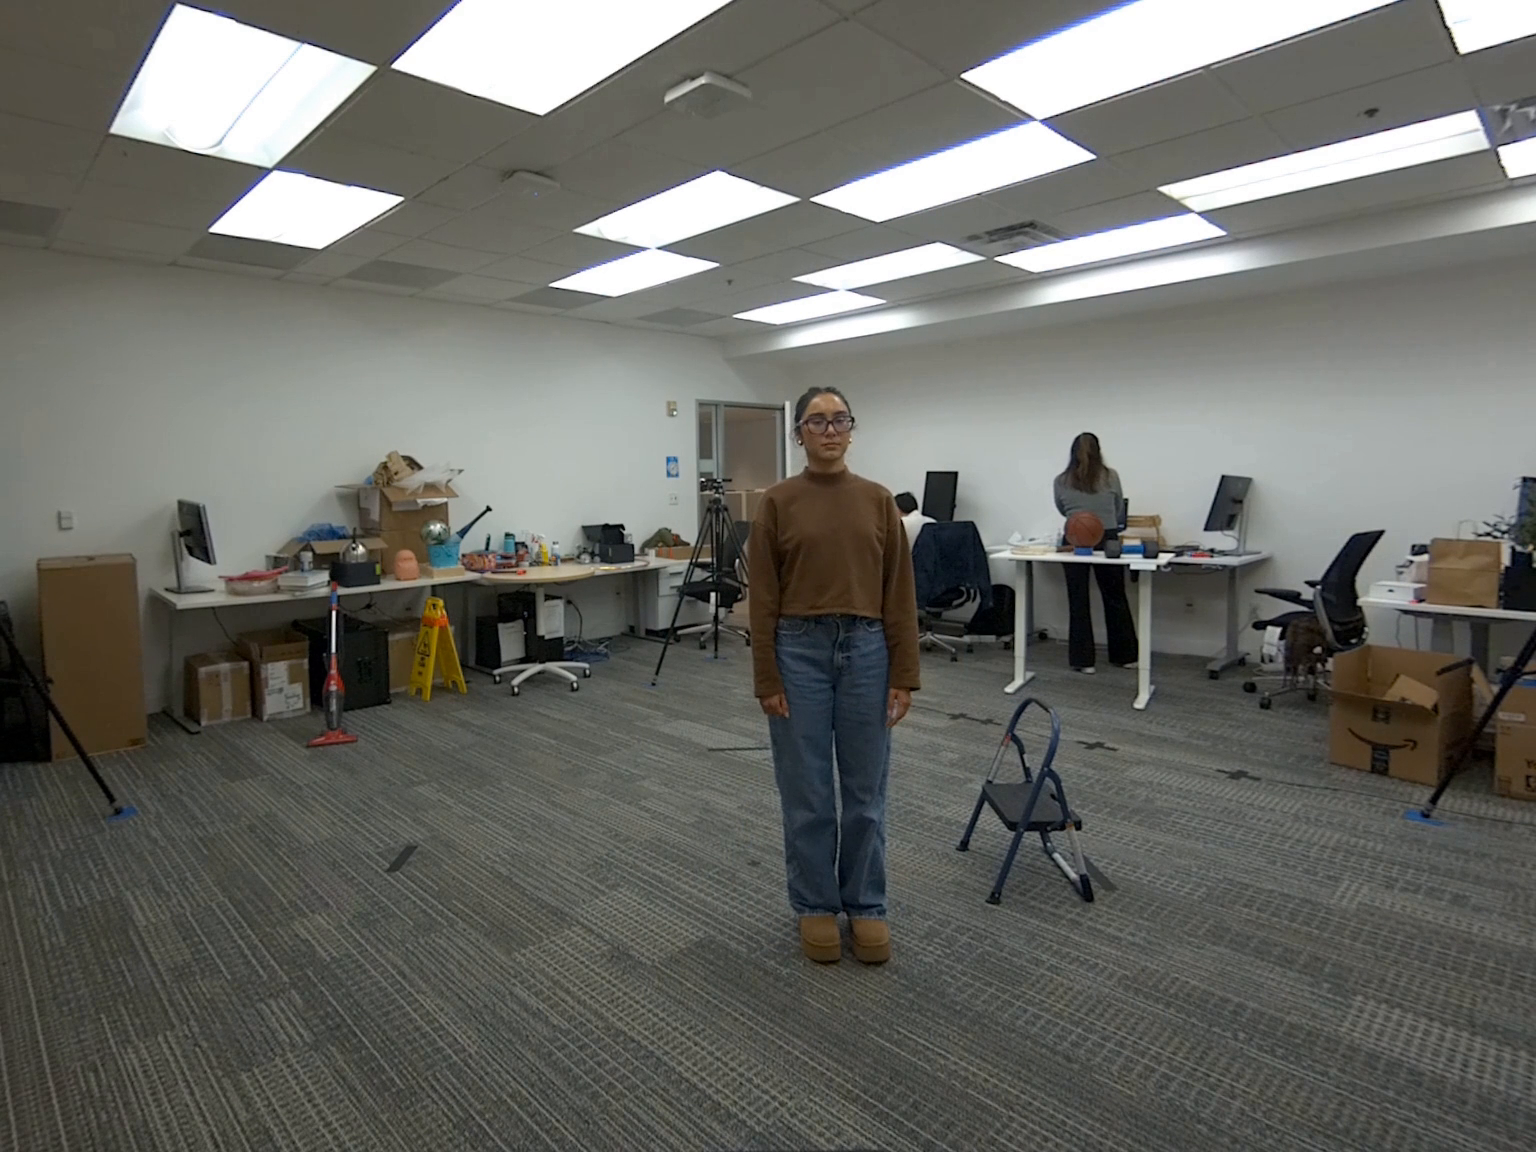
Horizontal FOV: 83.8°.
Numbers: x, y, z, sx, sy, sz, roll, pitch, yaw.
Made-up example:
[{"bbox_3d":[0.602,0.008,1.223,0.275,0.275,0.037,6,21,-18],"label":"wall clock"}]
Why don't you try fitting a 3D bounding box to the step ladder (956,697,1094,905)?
[{"bbox_3d":[0.890,0.742,2.966,0.349,0.604,0.432,-1,4,-1],"label":"step ladder"}]
